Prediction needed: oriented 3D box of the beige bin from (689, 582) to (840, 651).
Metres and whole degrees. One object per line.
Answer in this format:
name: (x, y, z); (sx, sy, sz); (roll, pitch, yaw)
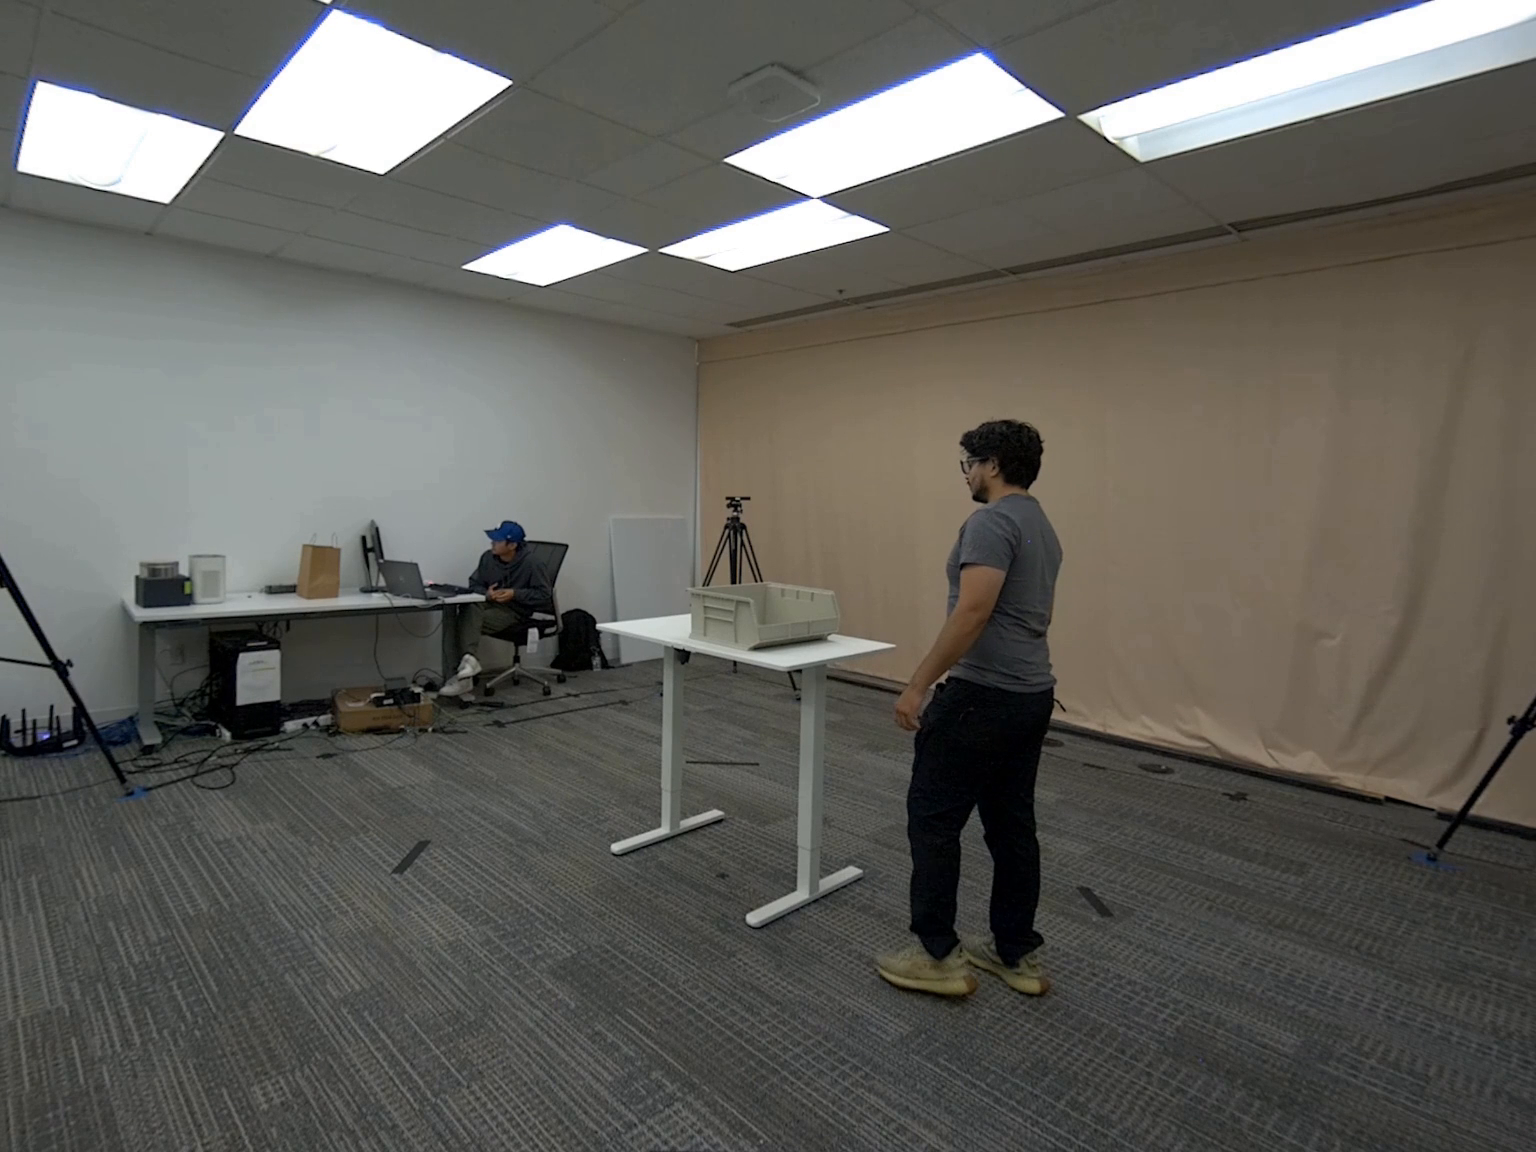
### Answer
beige bin: (-0.020, 0.144, 3.052); (0.413, 0.188, 0.387); (-4, 7, -43)
